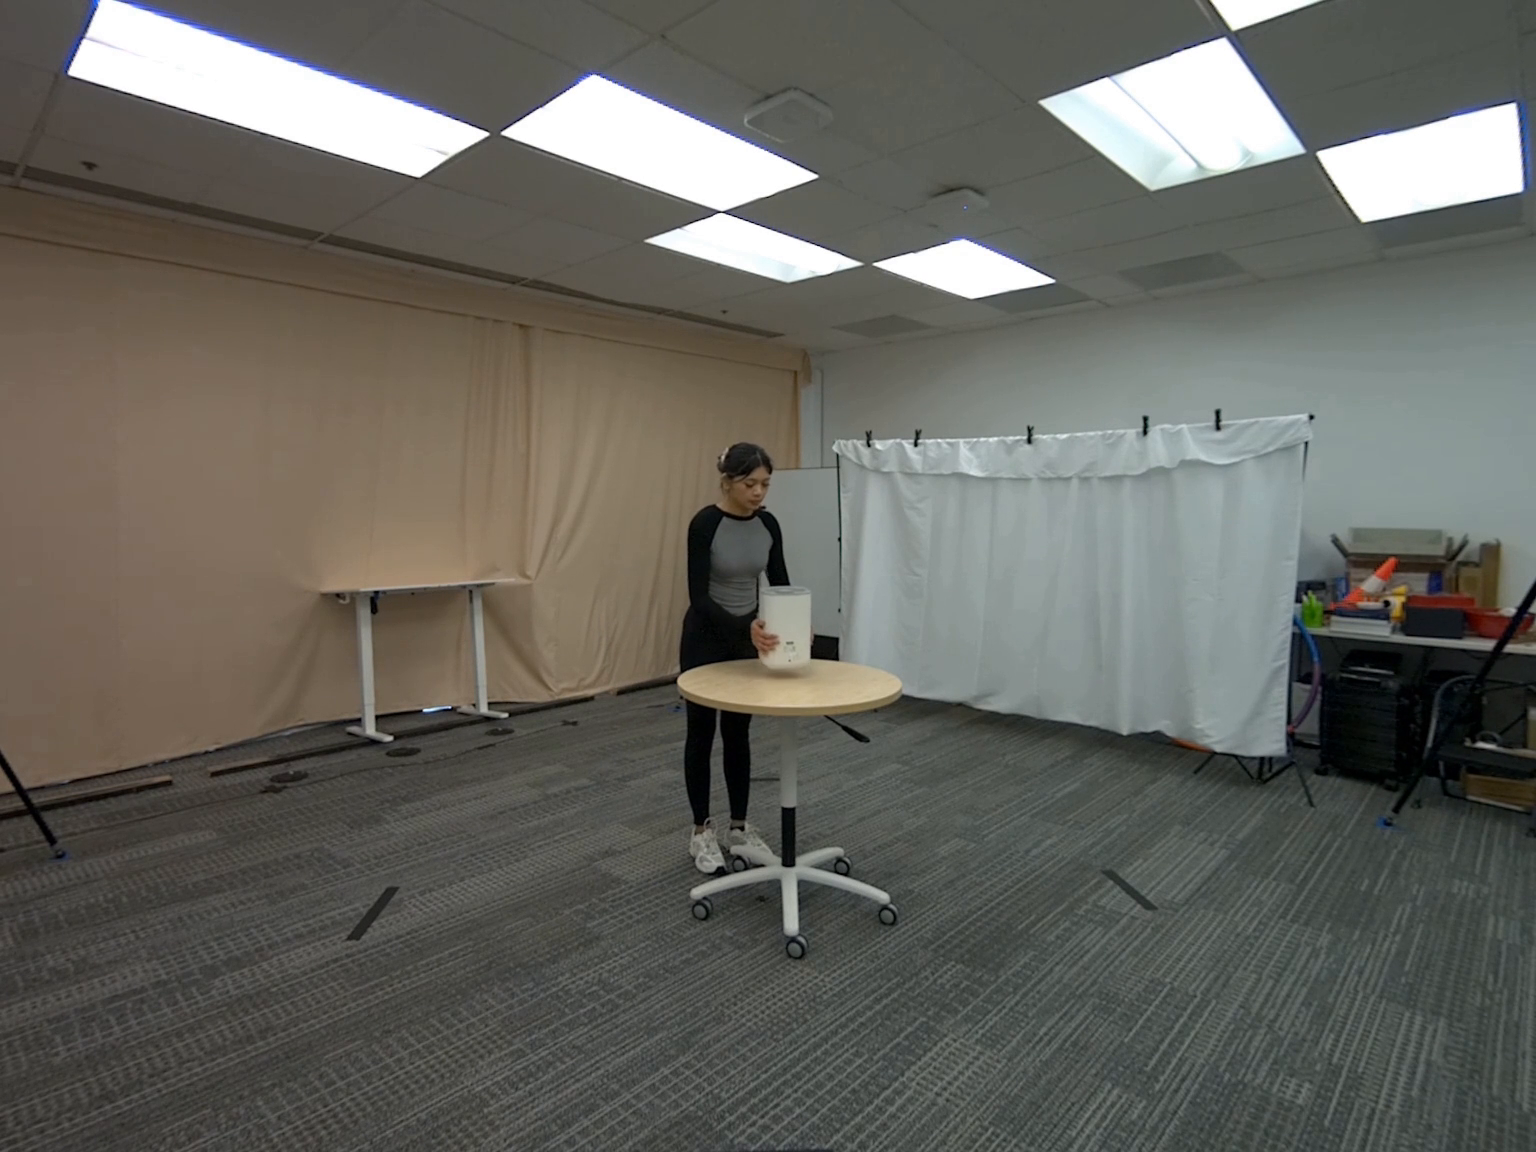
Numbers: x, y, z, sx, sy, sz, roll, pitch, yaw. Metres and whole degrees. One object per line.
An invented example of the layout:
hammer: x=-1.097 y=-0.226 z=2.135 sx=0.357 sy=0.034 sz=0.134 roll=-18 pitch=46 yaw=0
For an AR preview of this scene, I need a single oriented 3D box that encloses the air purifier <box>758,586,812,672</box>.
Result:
air purifier: x=0.066 y=0.178 z=2.939 sx=0.170 sy=0.265 sz=0.173 roll=1 pitch=4 yaw=-5
